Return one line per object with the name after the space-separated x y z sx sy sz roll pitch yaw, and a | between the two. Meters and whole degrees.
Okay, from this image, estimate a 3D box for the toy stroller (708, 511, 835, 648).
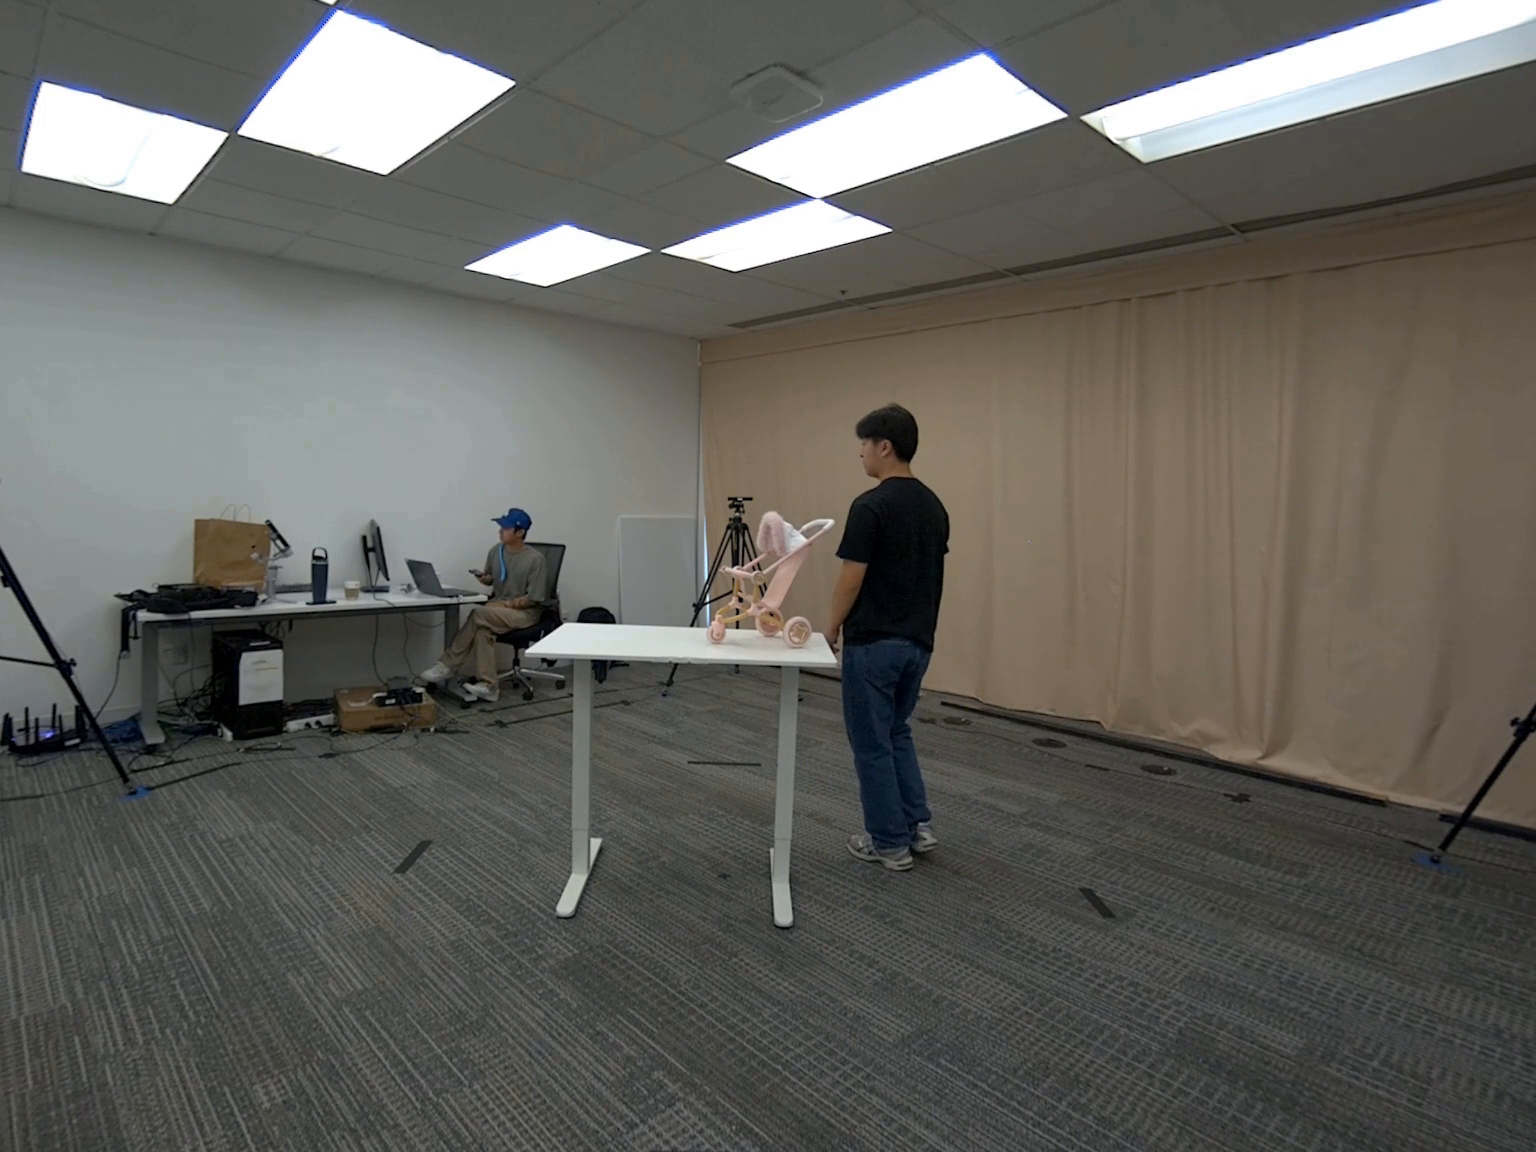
-0.008 0.013 2.993 0.336 0.535 0.285 16 -1 -16 | toy stroller
